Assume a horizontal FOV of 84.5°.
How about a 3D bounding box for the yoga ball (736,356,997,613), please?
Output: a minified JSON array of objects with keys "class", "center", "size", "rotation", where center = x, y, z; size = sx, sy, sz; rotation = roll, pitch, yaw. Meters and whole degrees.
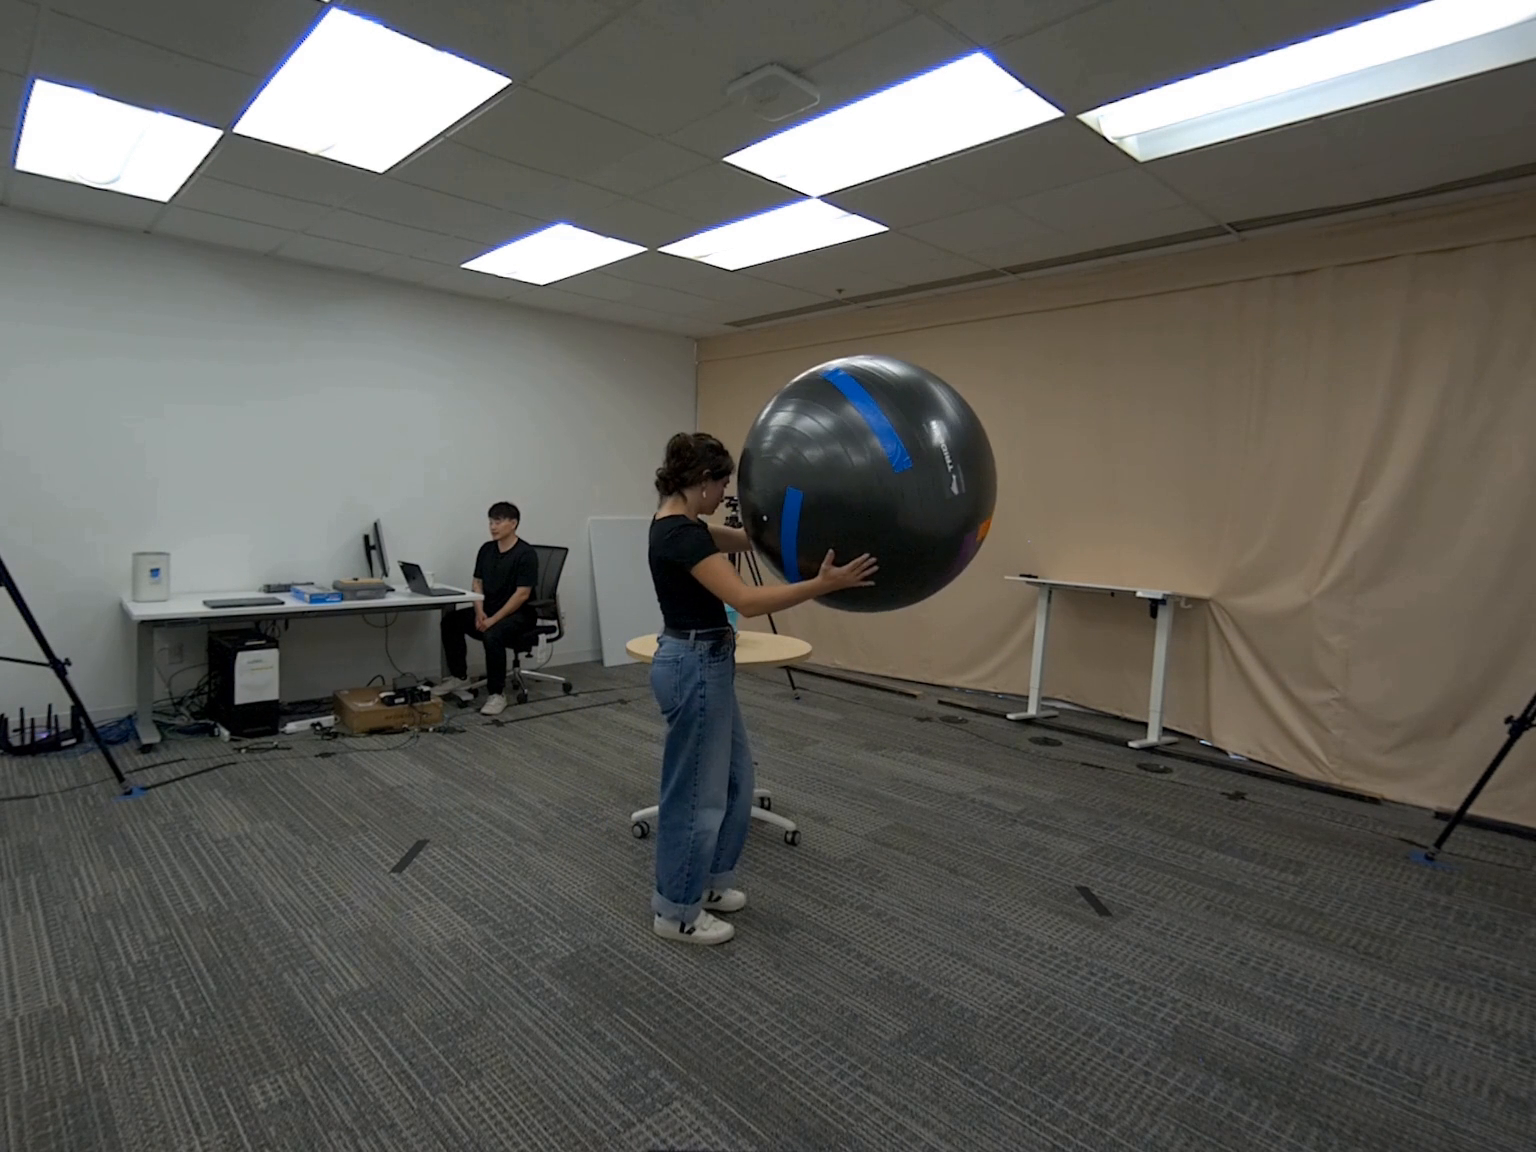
[{"class":"yoga ball","center":[0.286,-0.257,2.509],"size":[0.757,0.756,0.761],"rotation":[1,4,-1]}]
